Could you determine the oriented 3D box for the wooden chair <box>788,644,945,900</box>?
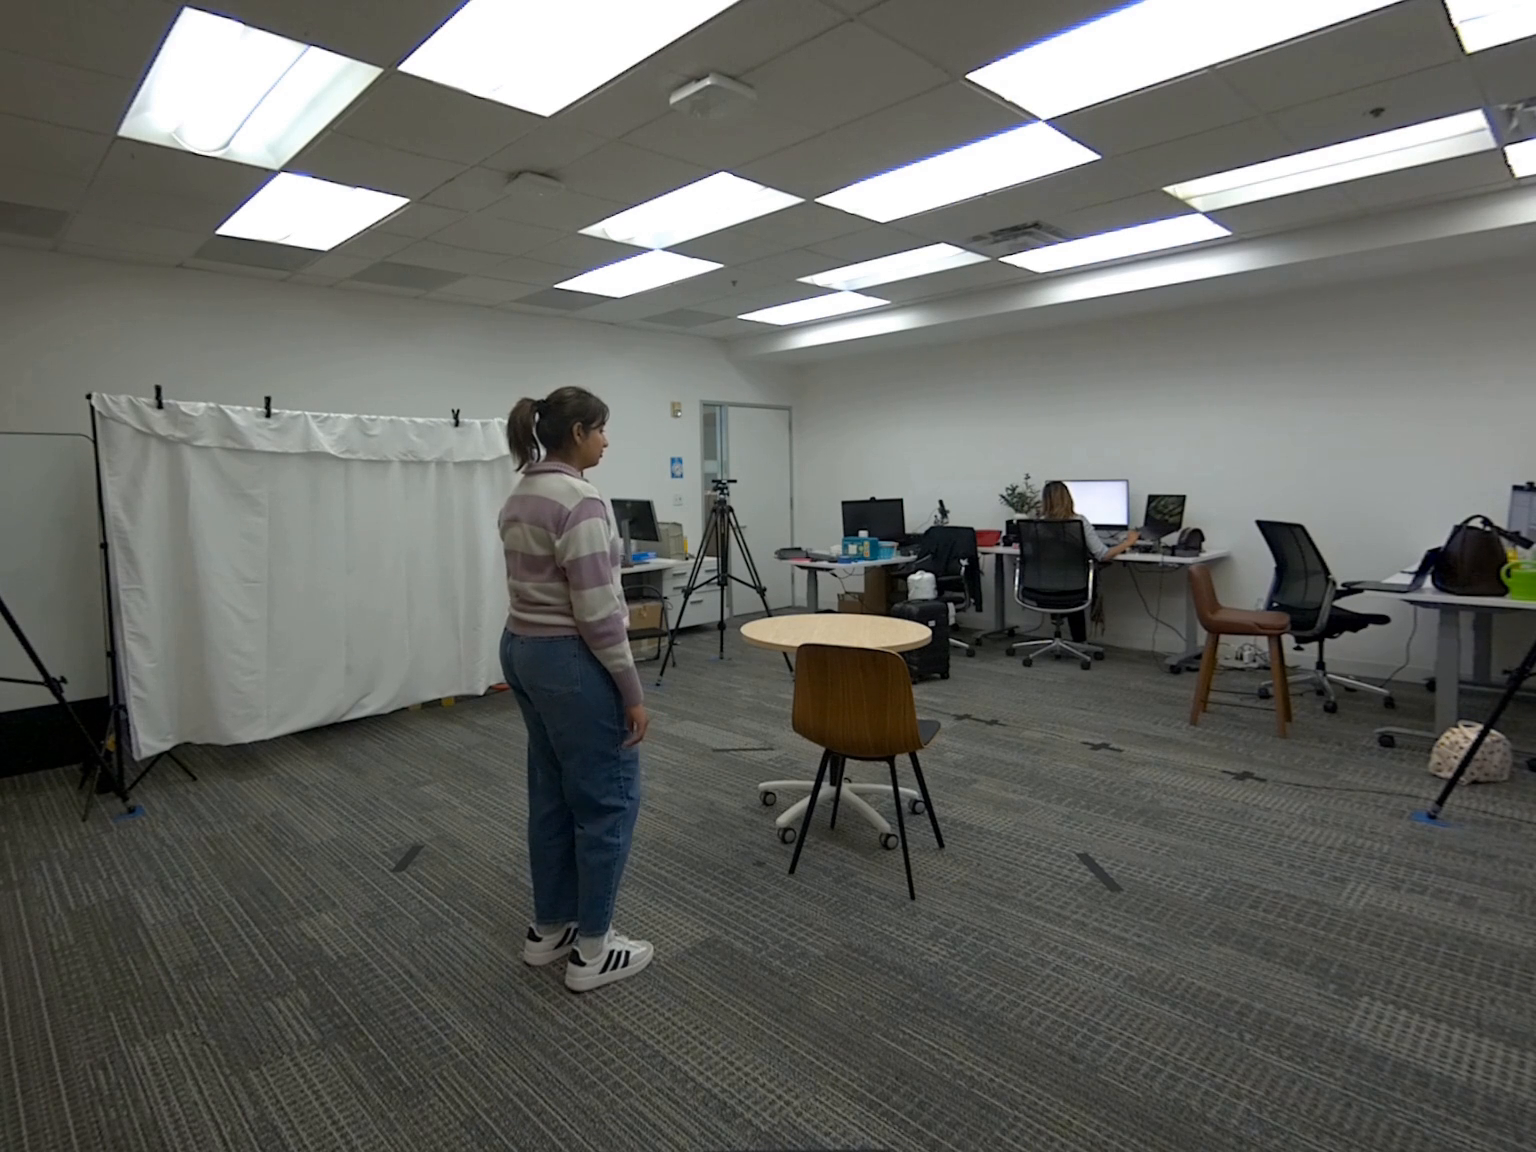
[{"bbox_3d":[0.362,0.616,3.094,0.489,0.871,0.514,1,8,26],"label":"wooden chair"}]
